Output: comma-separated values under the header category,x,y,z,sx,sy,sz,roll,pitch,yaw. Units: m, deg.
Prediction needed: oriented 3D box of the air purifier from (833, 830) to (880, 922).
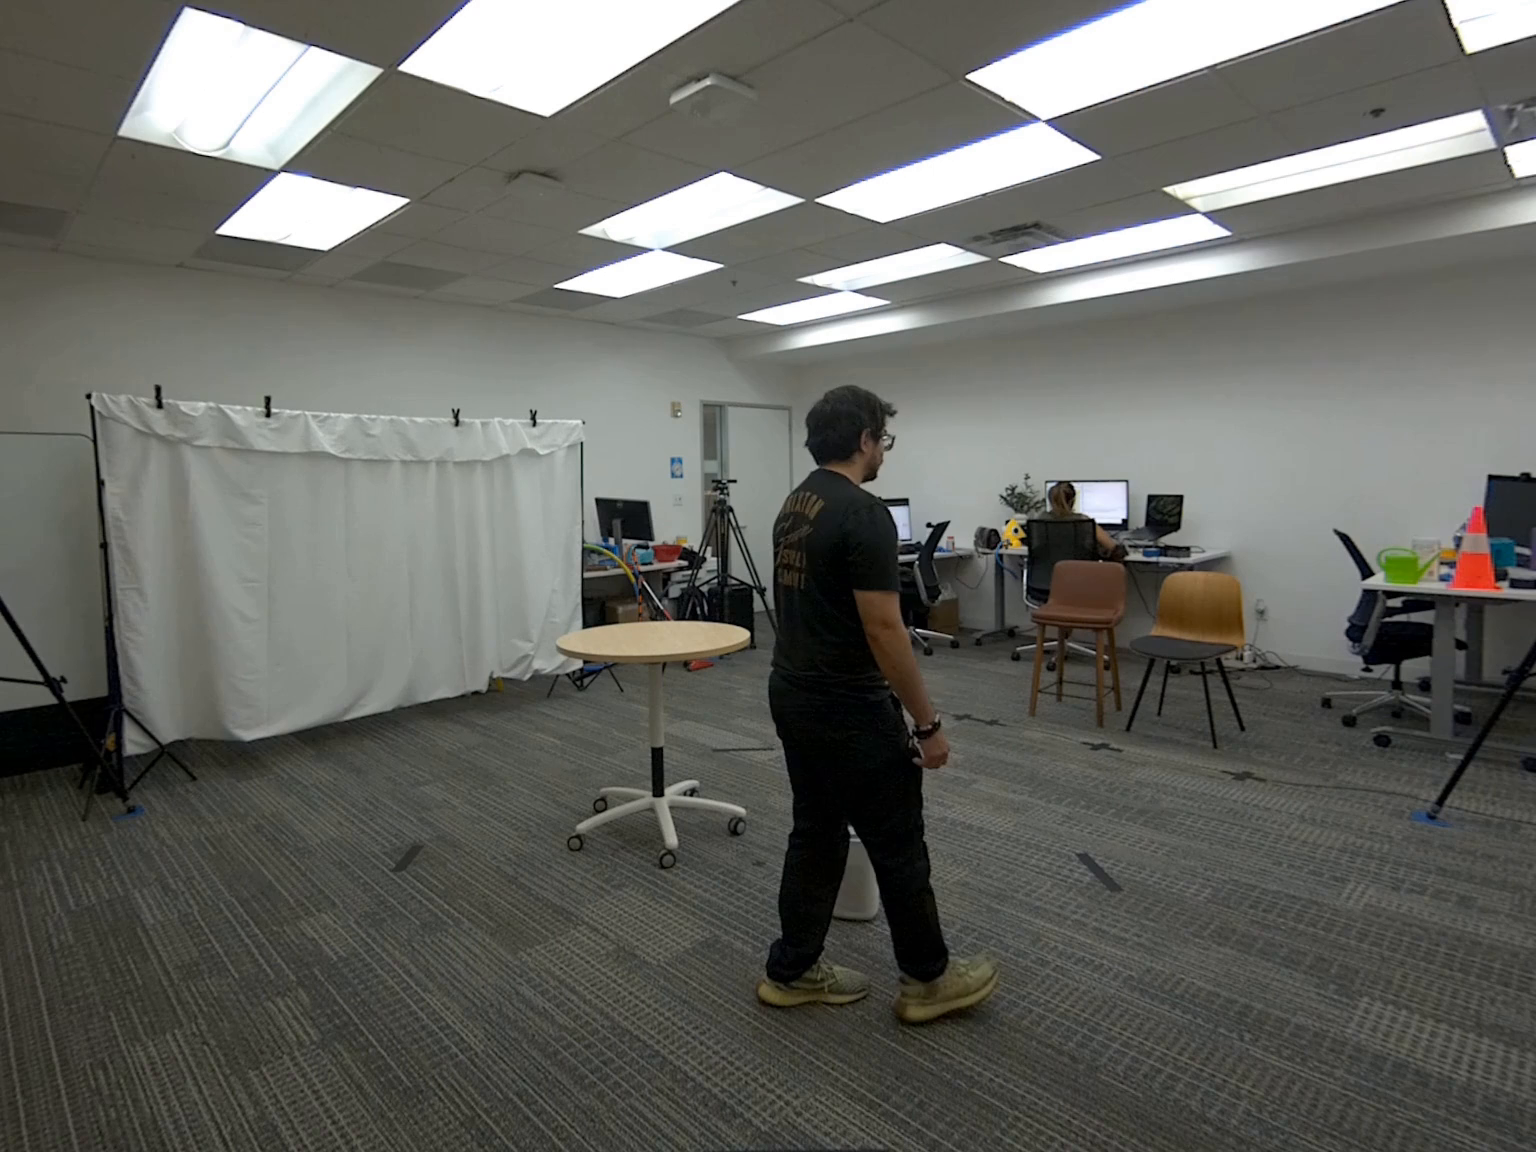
category,x,y,z,sx,sy,sz,roll,pitch,yaw
air purifier,0.280,0.948,2.757,0.176,0.261,0.166,-1,4,16
